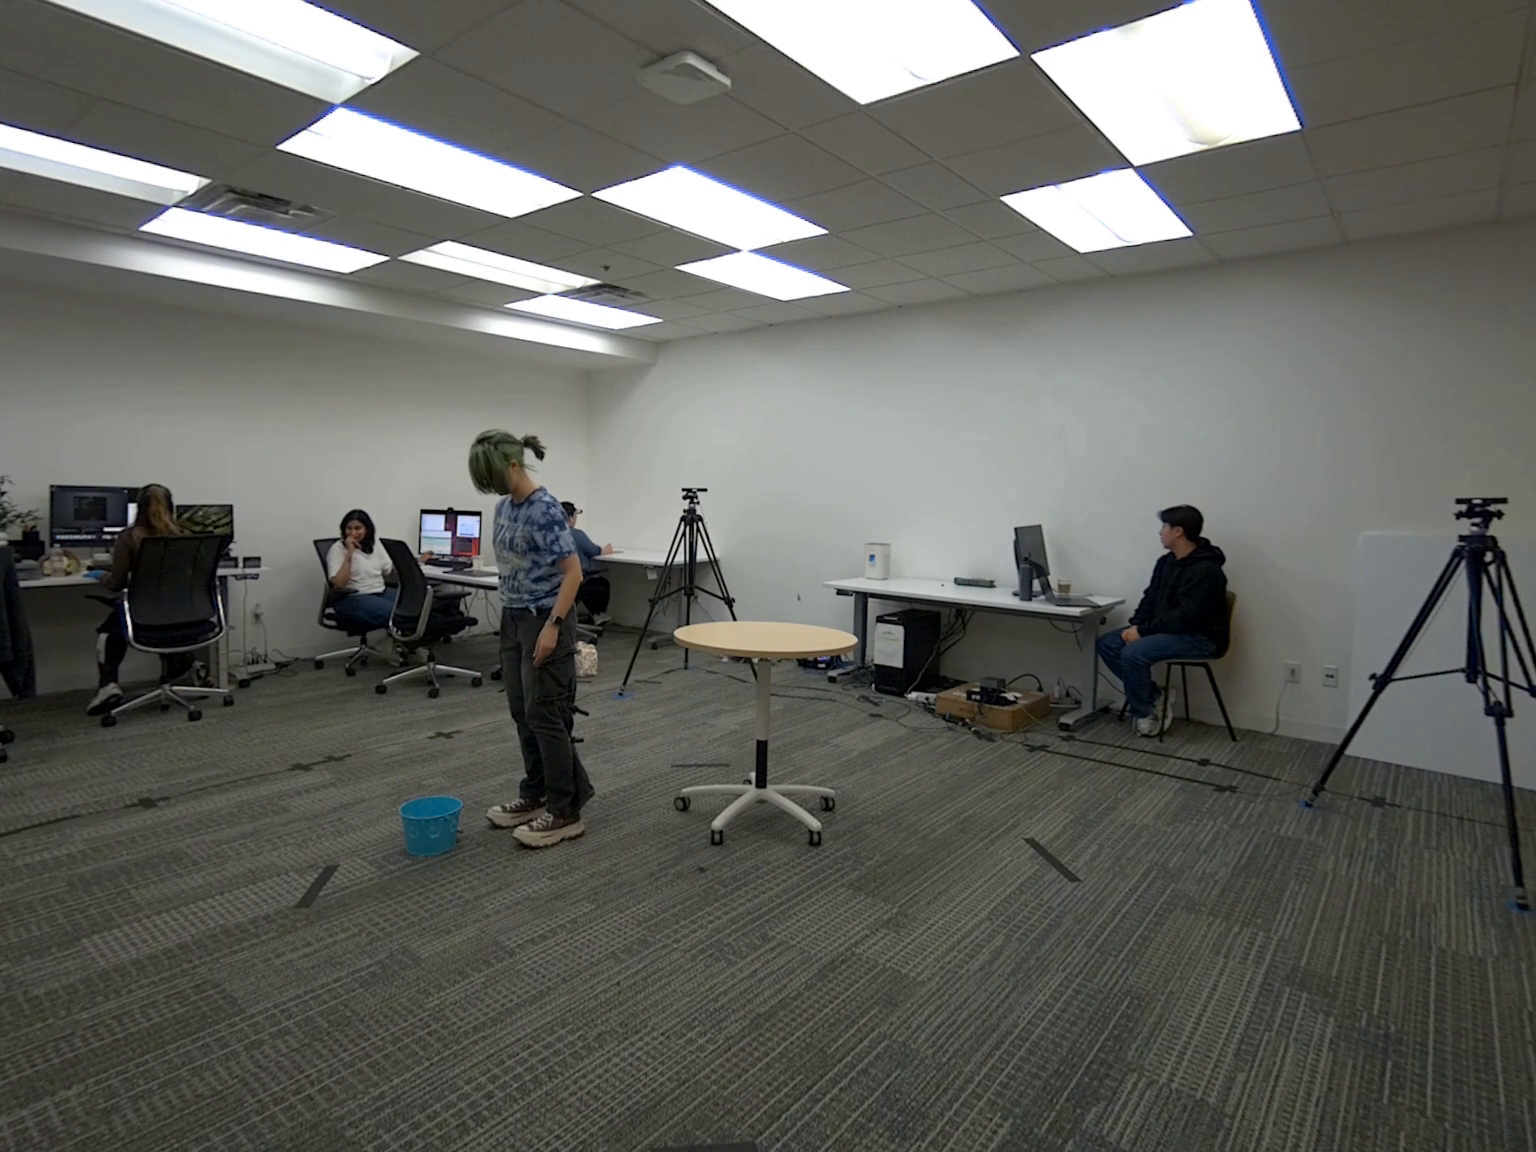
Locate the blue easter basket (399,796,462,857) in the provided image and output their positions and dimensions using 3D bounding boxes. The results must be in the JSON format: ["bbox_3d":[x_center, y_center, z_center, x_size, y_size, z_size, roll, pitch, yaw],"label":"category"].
[{"bbox_3d":[-1.305,0.959,3.278,0.243,0.155,0.245,1,6,-2],"label":"blue easter basket"}]
